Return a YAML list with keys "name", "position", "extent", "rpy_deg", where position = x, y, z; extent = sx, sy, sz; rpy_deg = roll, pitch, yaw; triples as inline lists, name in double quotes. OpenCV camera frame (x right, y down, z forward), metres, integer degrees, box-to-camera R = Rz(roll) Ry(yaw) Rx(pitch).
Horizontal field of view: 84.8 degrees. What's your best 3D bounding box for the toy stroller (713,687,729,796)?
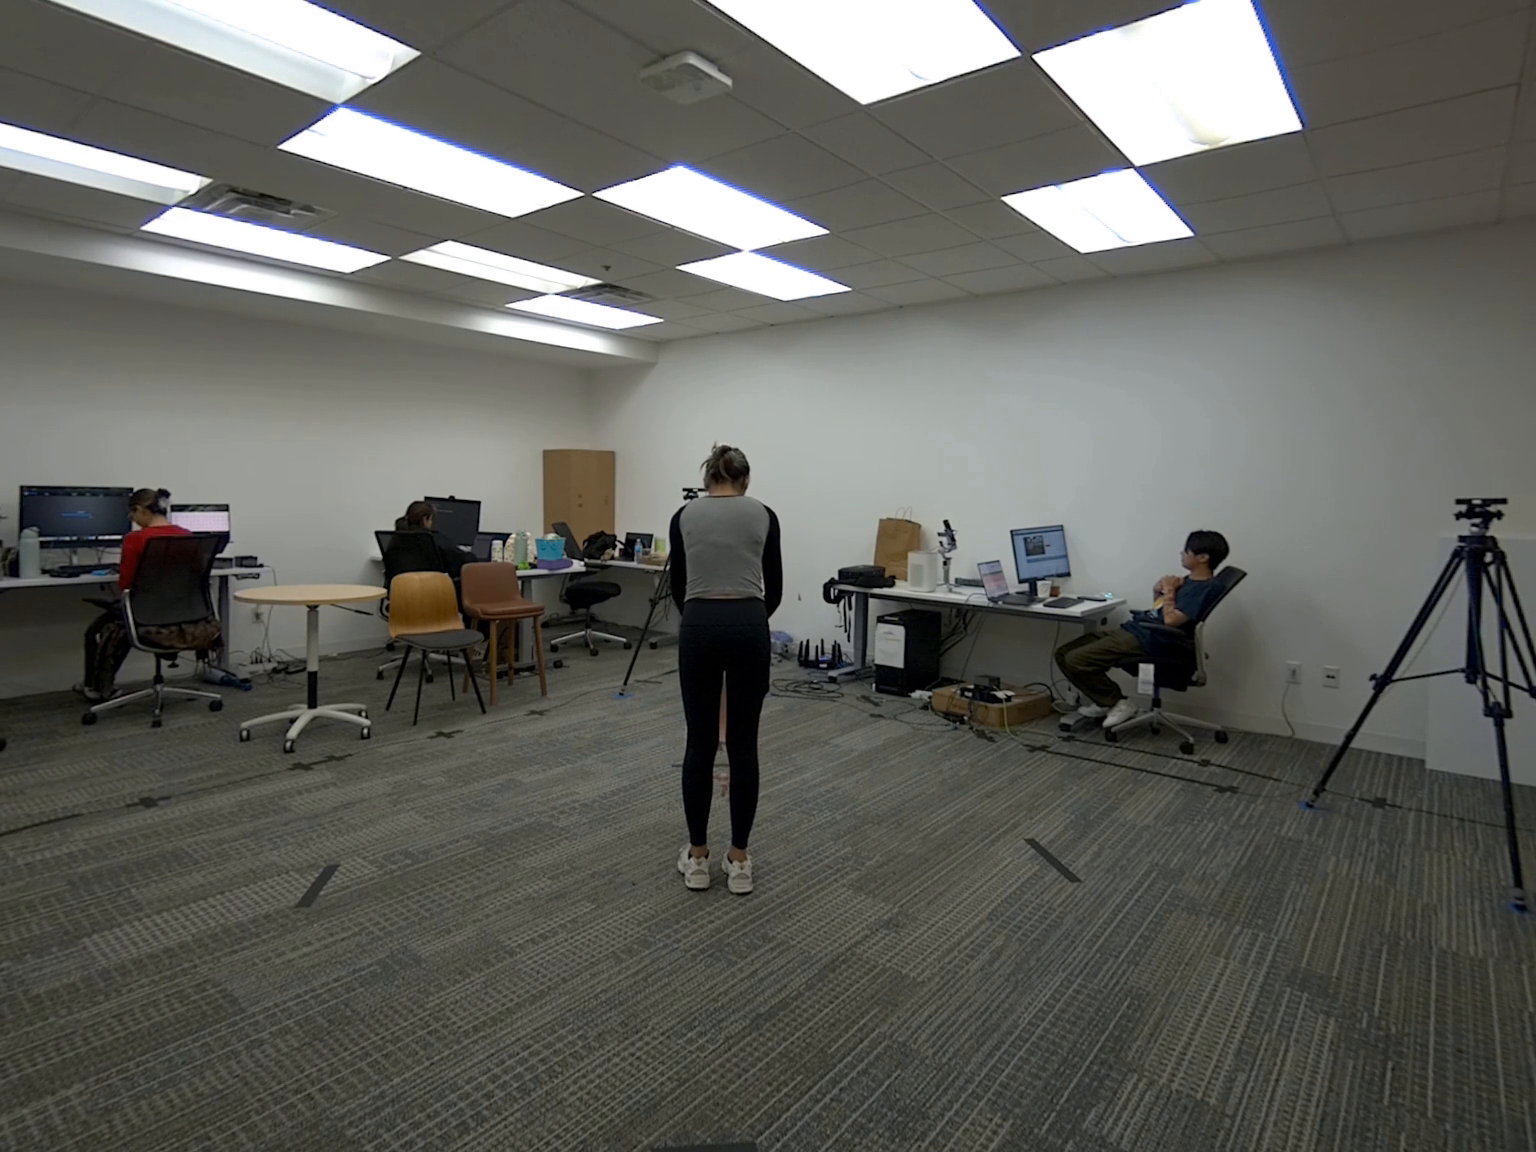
- name: "toy stroller"
  position: [-0.182, 0.564, 3.374]
  extent: [0.280, 0.526, 0.349]
  rpy_deg: [3, 21, -6]
